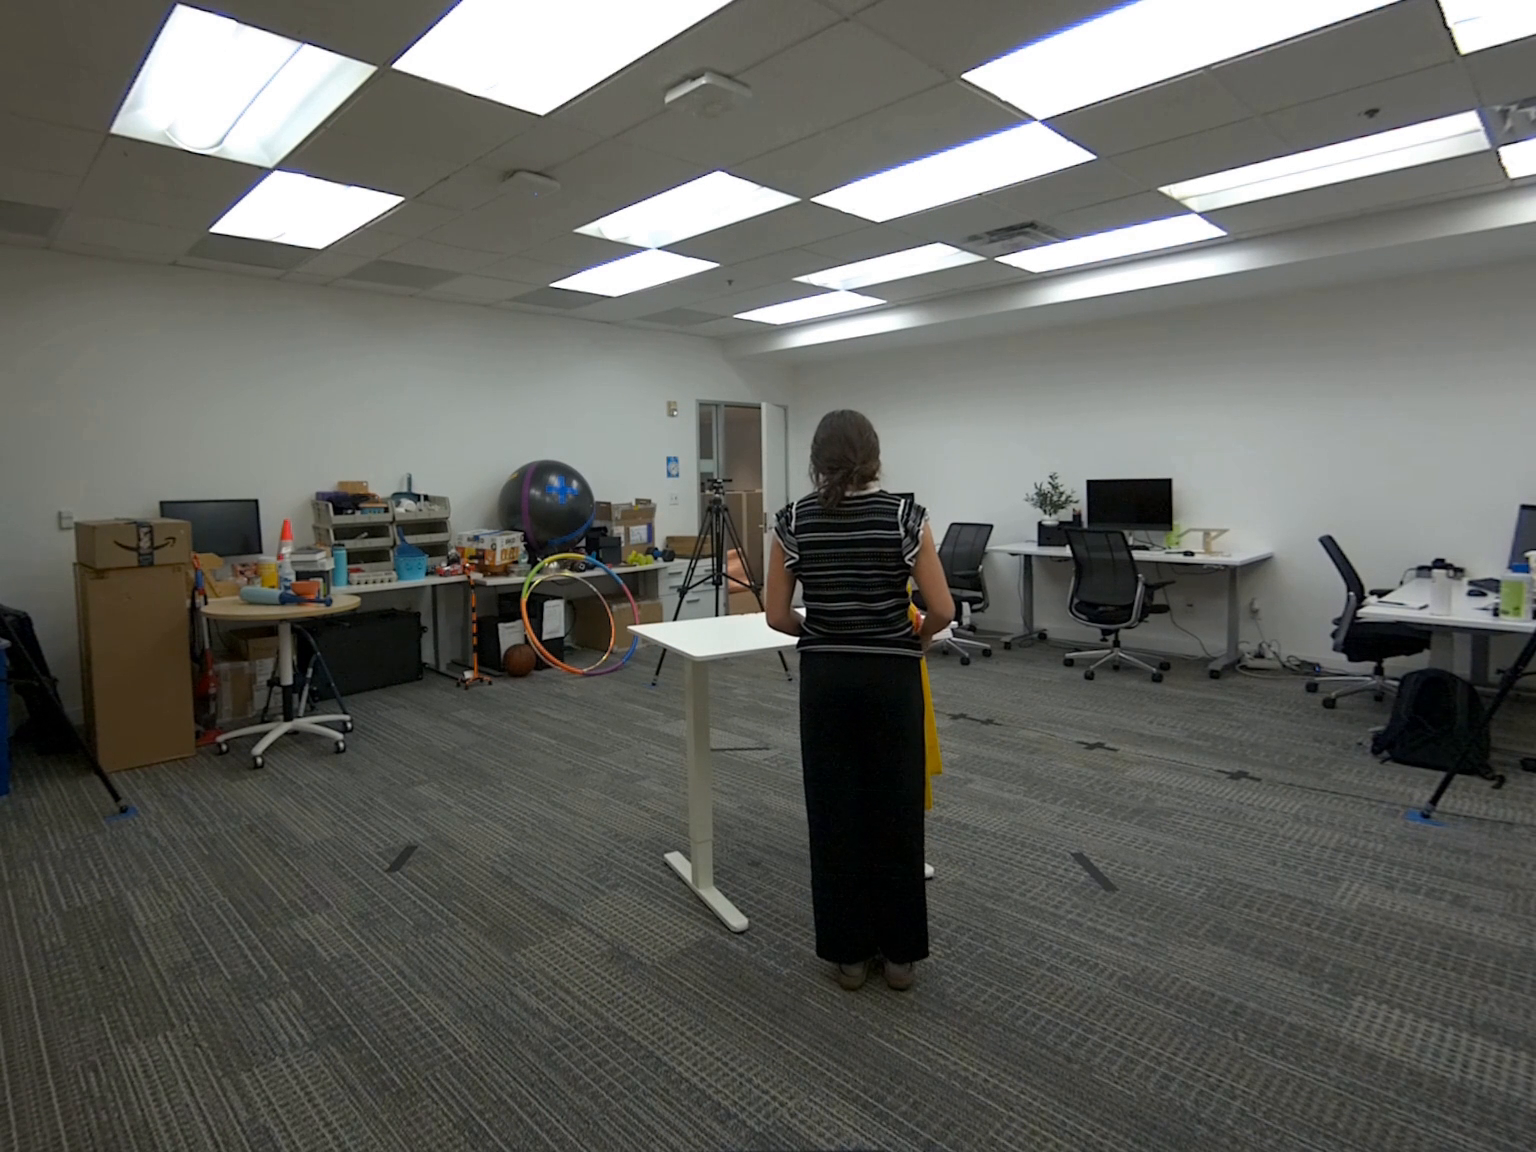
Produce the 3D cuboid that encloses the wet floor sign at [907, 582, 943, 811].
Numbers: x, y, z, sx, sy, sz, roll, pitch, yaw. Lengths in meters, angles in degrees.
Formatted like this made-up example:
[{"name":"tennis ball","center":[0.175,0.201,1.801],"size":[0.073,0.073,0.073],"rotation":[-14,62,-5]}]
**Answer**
[{"name":"wet floor sign","center":[0.366,0.334,2.565],"size":[0.288,0.641,0.287],"rotation":[-3,9,21]}]
